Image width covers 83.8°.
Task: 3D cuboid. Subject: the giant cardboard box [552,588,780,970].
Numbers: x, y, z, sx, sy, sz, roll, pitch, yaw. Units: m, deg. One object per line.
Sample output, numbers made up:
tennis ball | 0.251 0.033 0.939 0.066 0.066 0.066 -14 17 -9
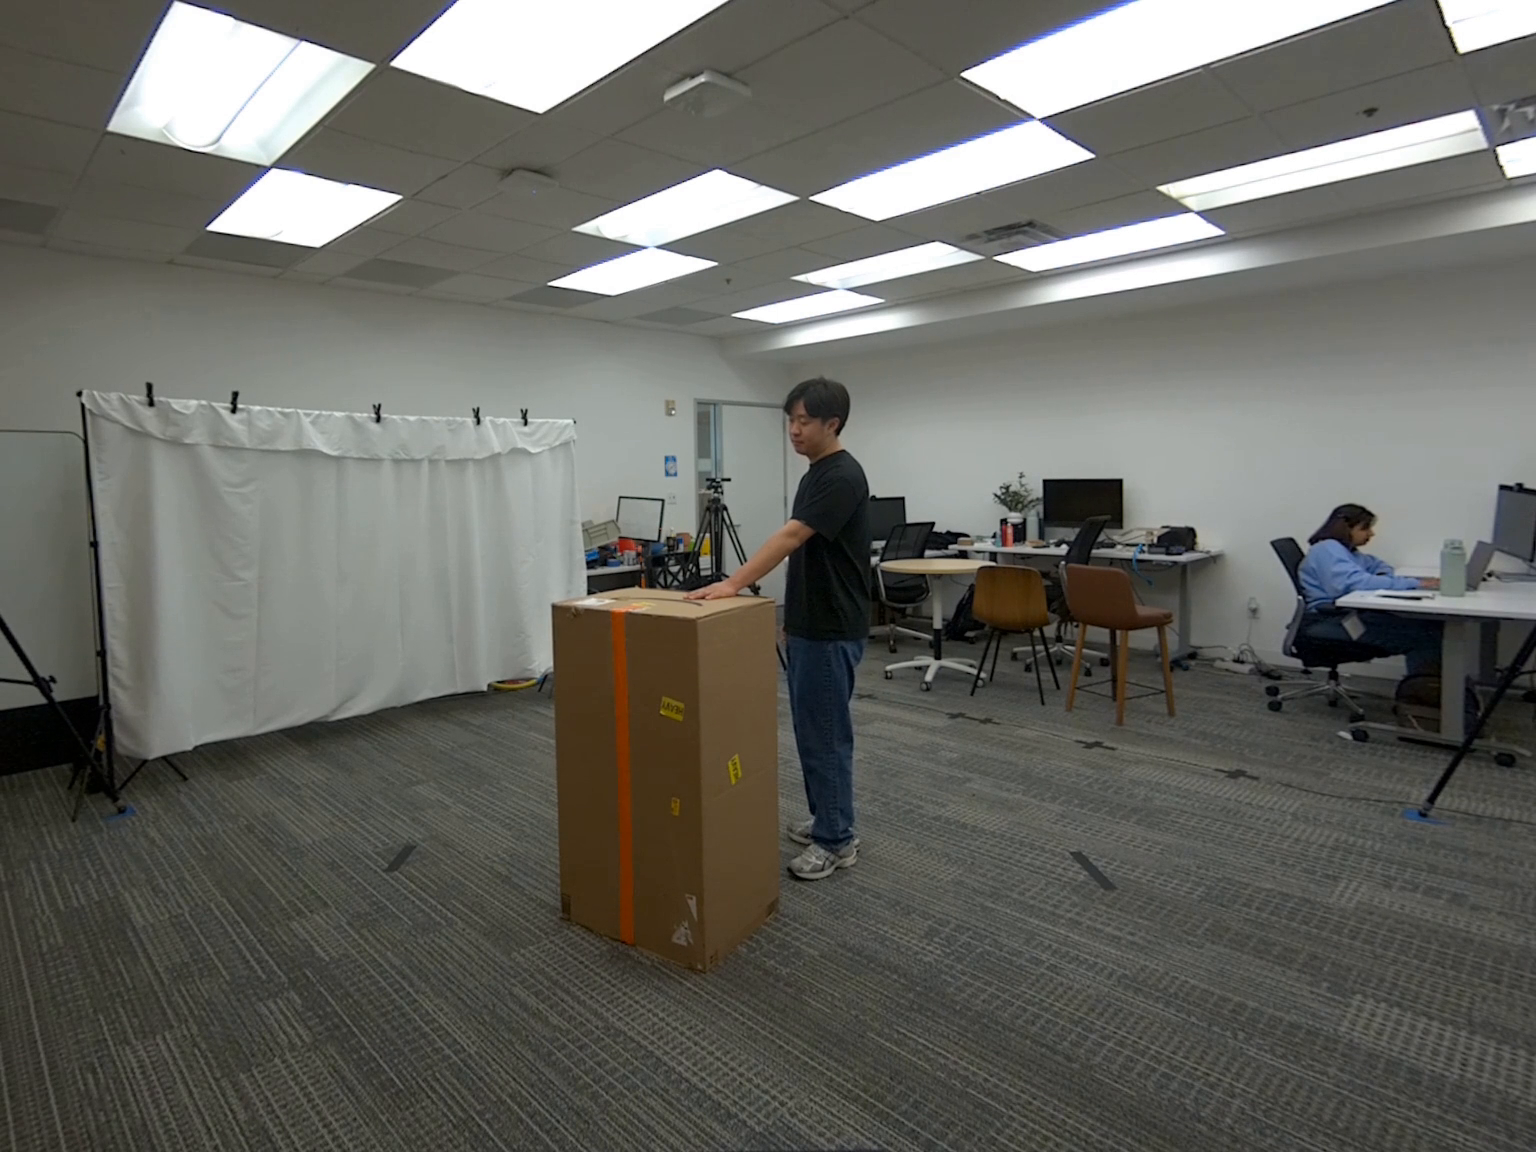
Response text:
giant cardboard box | -0.321 0.580 2.714 0.600 1.023 0.436 2 6 34
